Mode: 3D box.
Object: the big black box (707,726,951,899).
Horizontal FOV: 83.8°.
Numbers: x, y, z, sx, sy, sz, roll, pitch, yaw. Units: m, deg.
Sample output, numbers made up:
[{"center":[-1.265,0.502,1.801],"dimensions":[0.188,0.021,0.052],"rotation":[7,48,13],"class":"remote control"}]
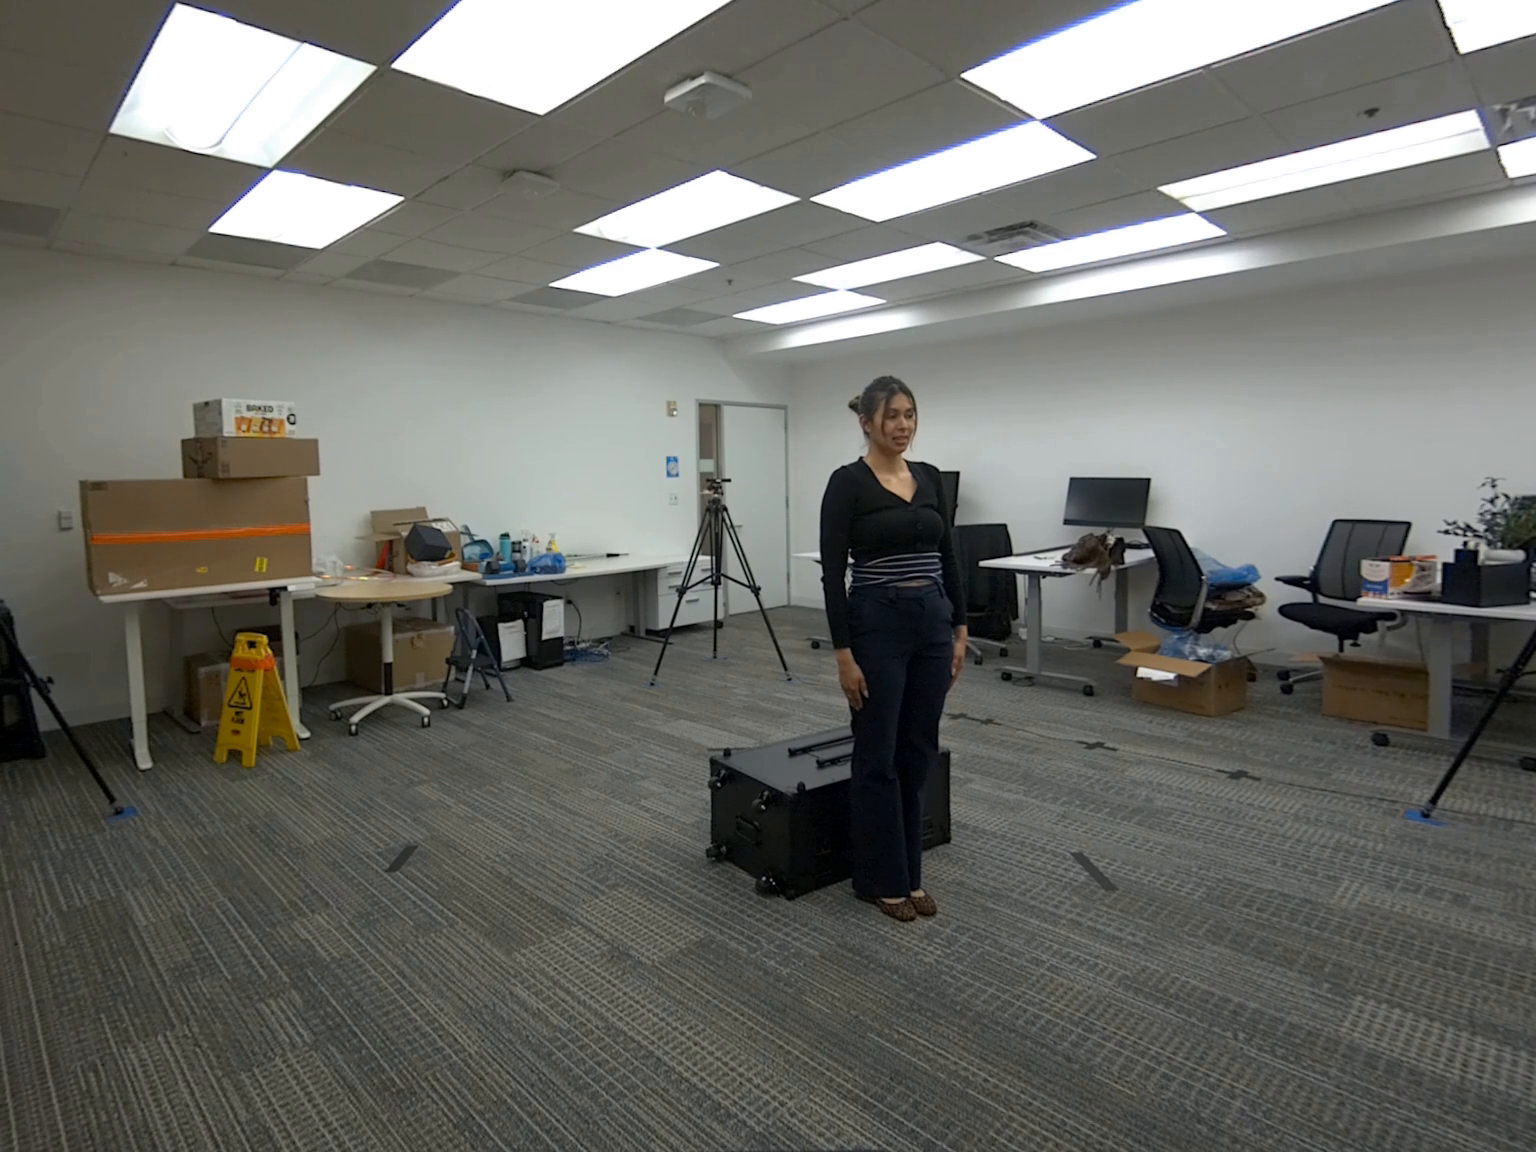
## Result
[{"center":[0.263,0.849,3.239],"dimensions":[0.840,0.394,0.537],"rotation":[-5,7,-35],"class":"big black box"}]
